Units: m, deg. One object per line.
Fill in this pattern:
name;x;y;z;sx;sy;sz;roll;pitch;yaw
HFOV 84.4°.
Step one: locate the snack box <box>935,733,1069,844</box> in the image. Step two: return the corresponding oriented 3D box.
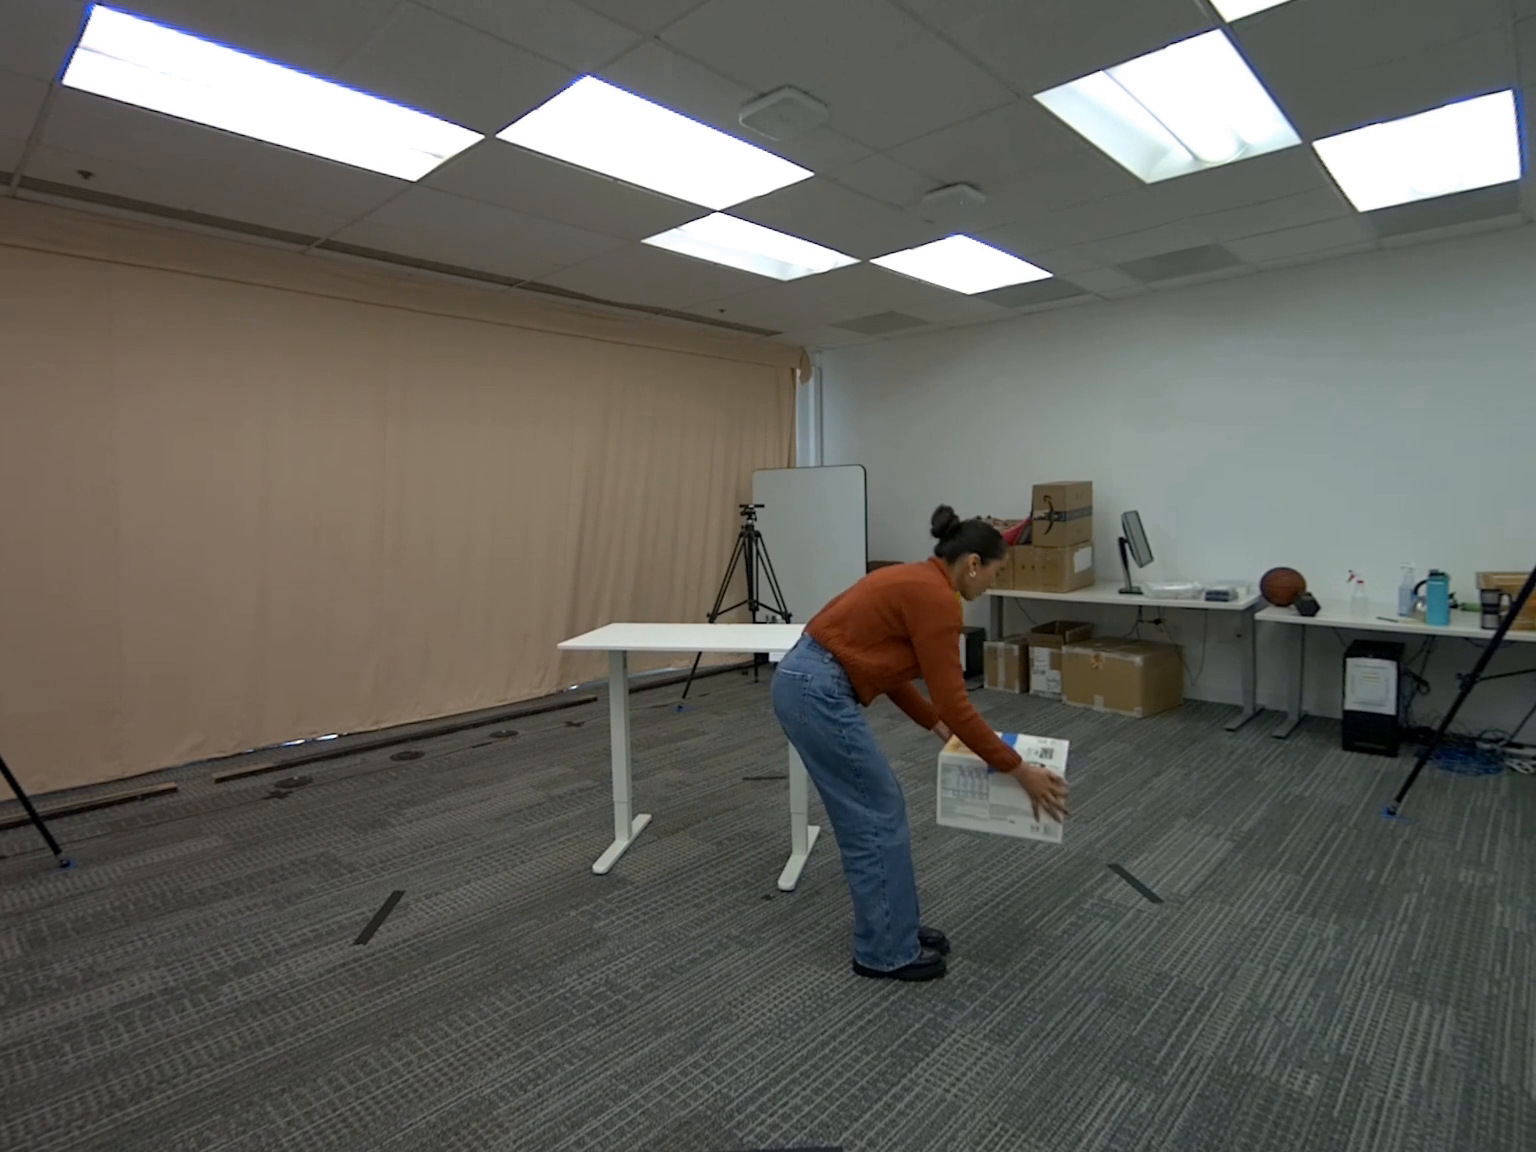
snack box;0.721;0.616;2.530;0.349;0.205;0.396;2;2;23
